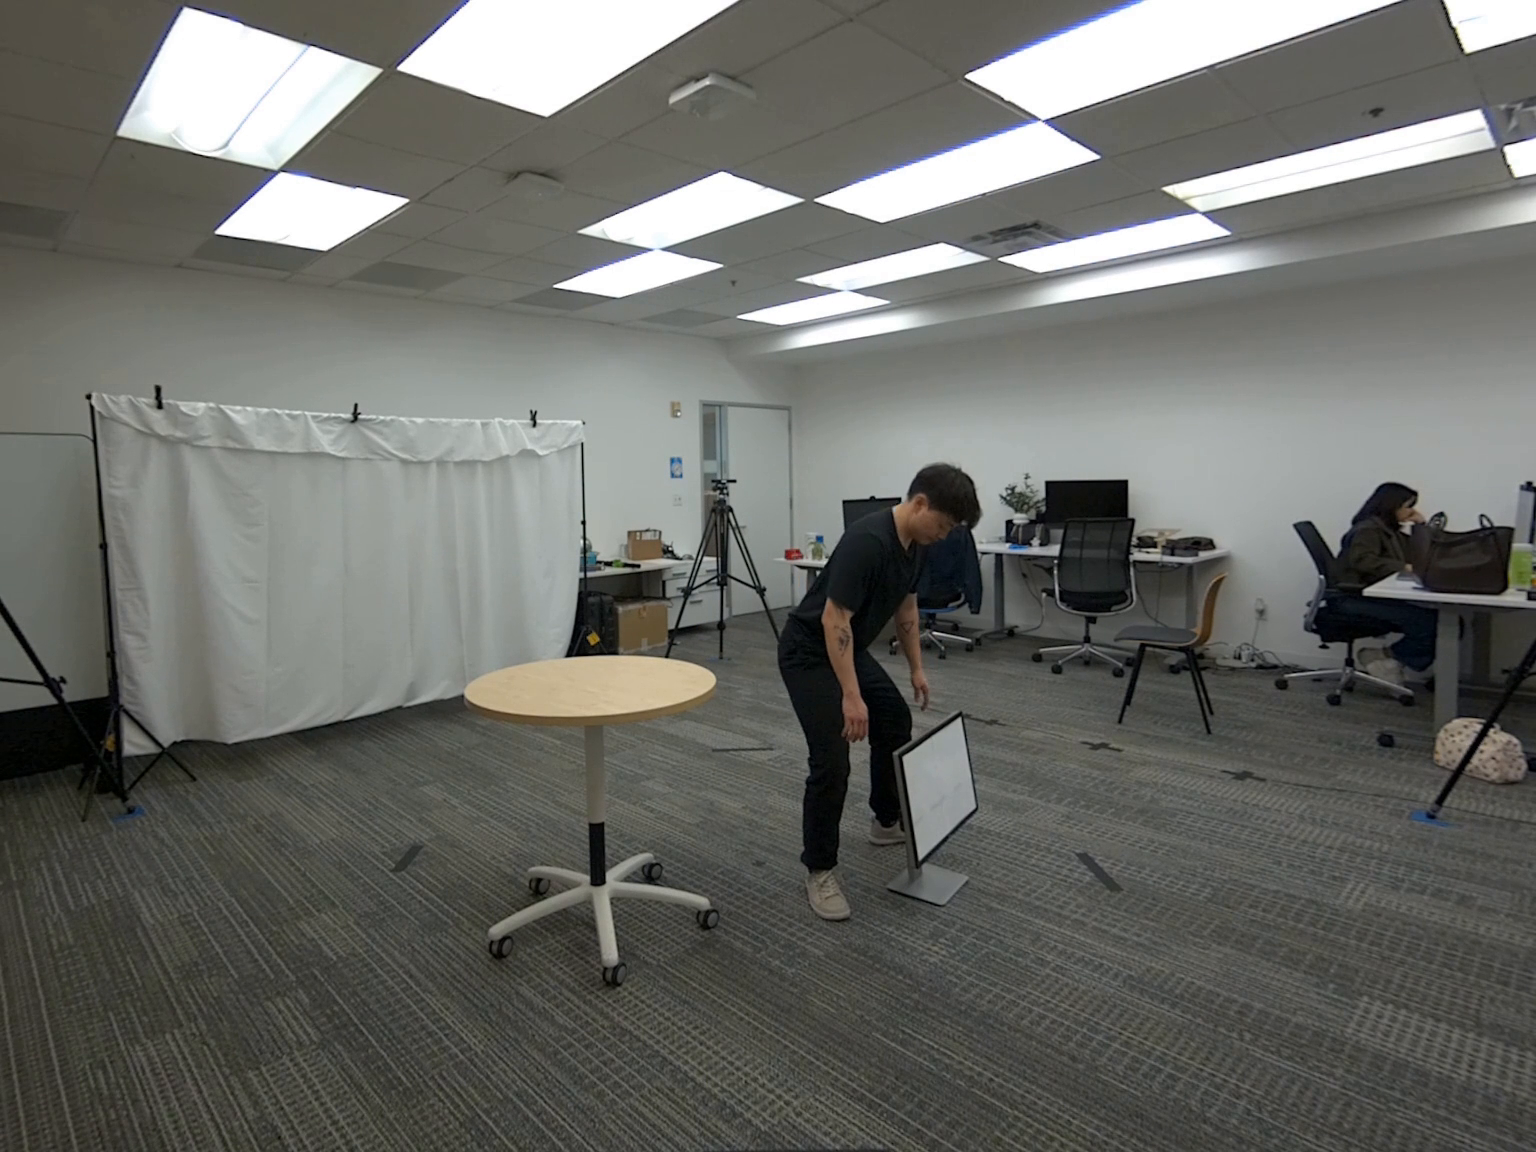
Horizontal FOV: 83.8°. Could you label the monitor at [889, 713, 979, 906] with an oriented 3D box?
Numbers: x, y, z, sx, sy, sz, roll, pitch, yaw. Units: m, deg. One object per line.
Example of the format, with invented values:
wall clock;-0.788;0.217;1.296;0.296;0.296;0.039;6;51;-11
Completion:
monitor;0.549;0.797;2.907;0.192;0.520;0.527;4;7;31
